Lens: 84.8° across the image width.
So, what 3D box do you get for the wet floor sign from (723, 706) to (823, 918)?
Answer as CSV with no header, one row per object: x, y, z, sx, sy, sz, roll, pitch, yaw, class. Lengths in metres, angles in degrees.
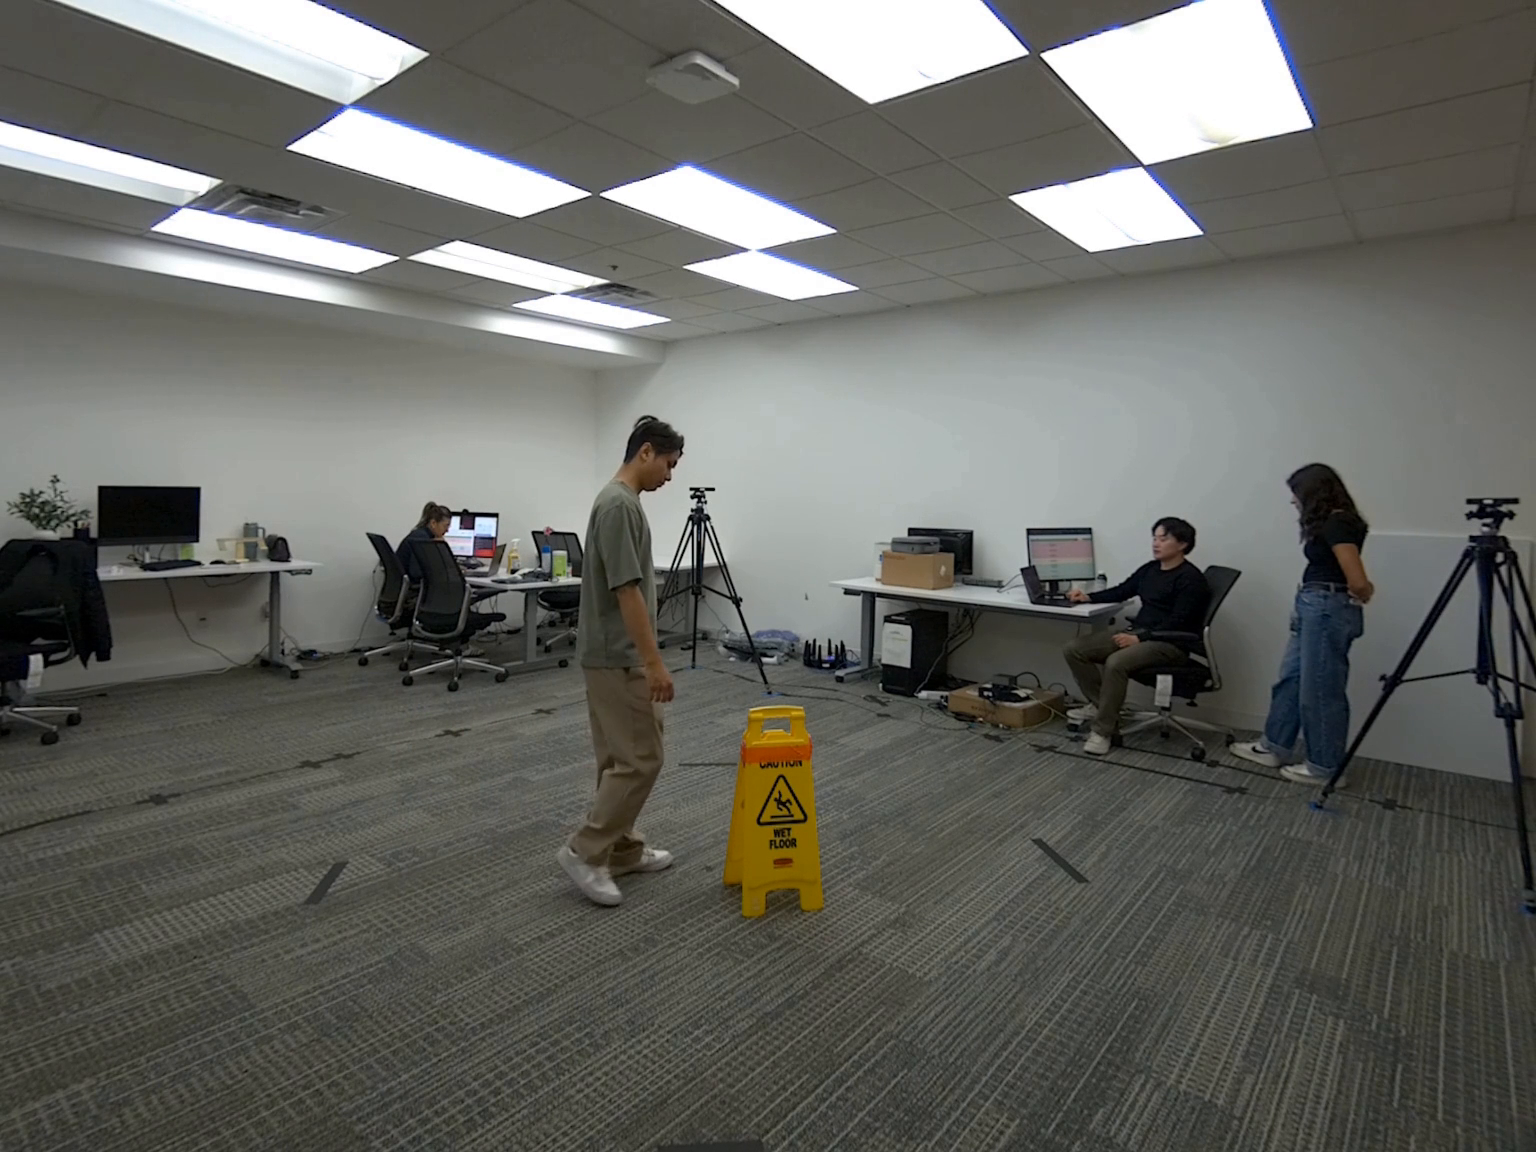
0.017,0.772,2.893,0.278,0.645,0.295,2,2,-15,wet floor sign
